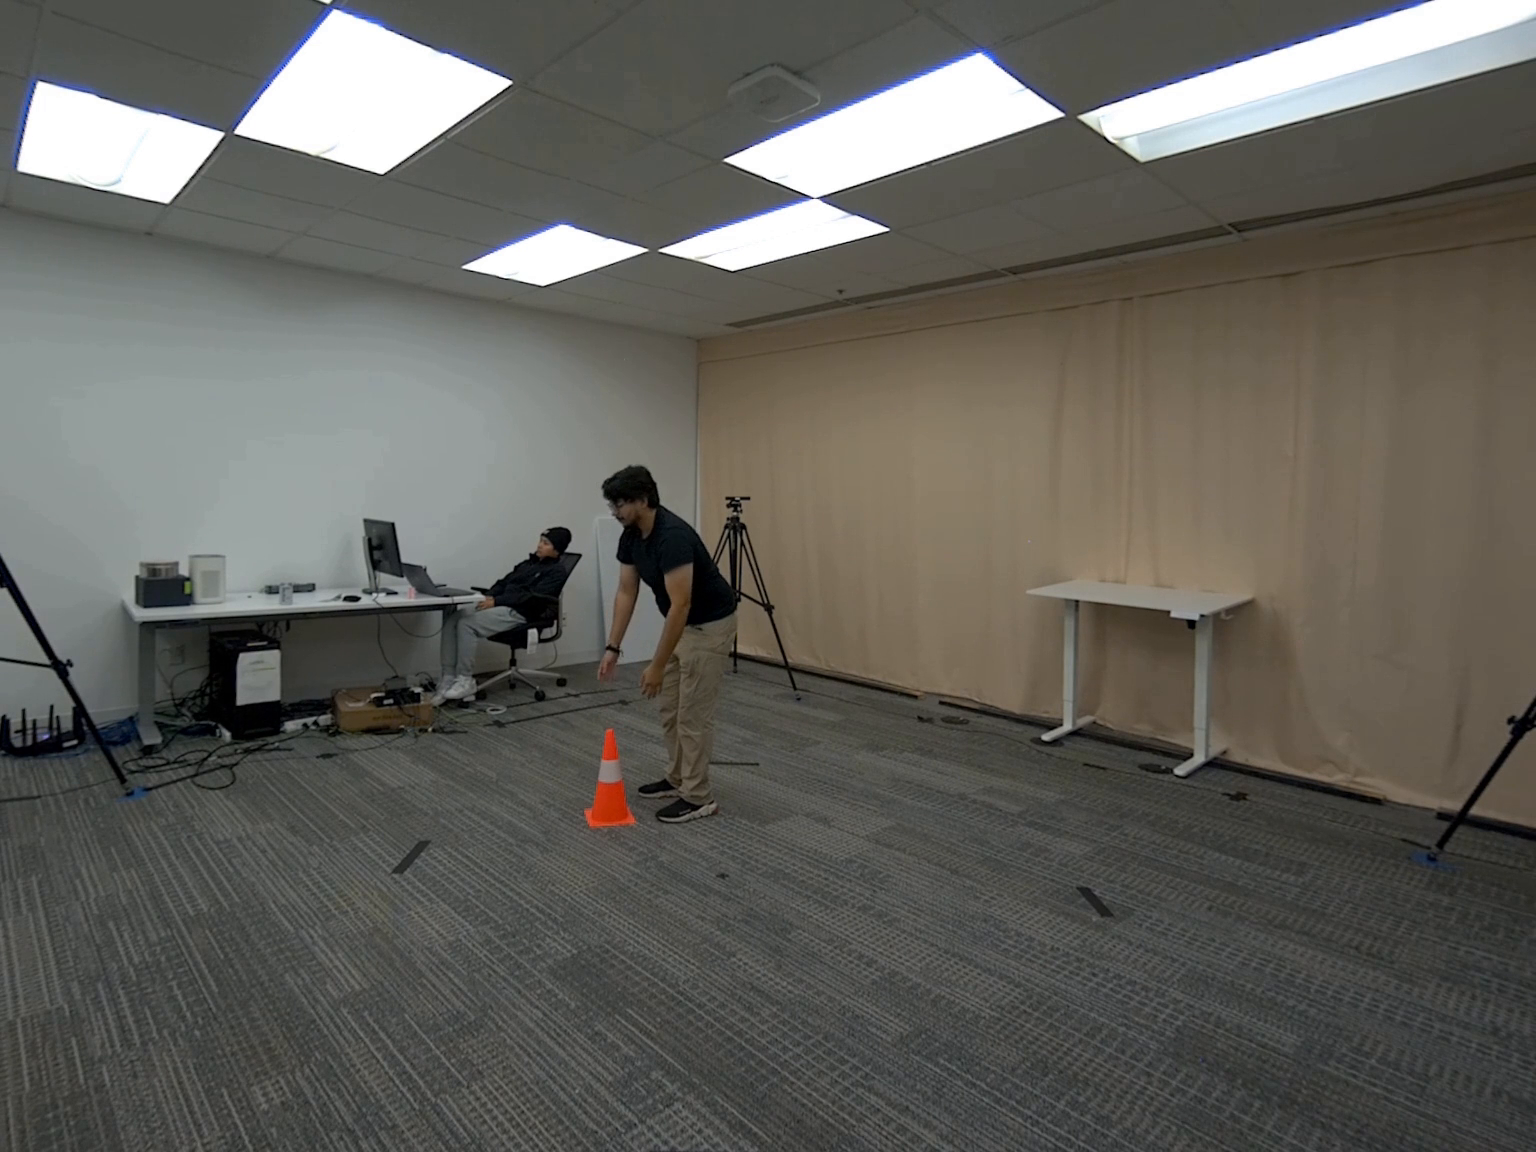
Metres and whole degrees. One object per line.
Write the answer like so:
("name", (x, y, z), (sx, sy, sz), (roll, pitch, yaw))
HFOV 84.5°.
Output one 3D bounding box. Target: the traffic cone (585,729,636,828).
("traffic cone", (-0.692, 0.863, 3.653), (0.202, 0.383, 0.207), (1, 3, -19))
